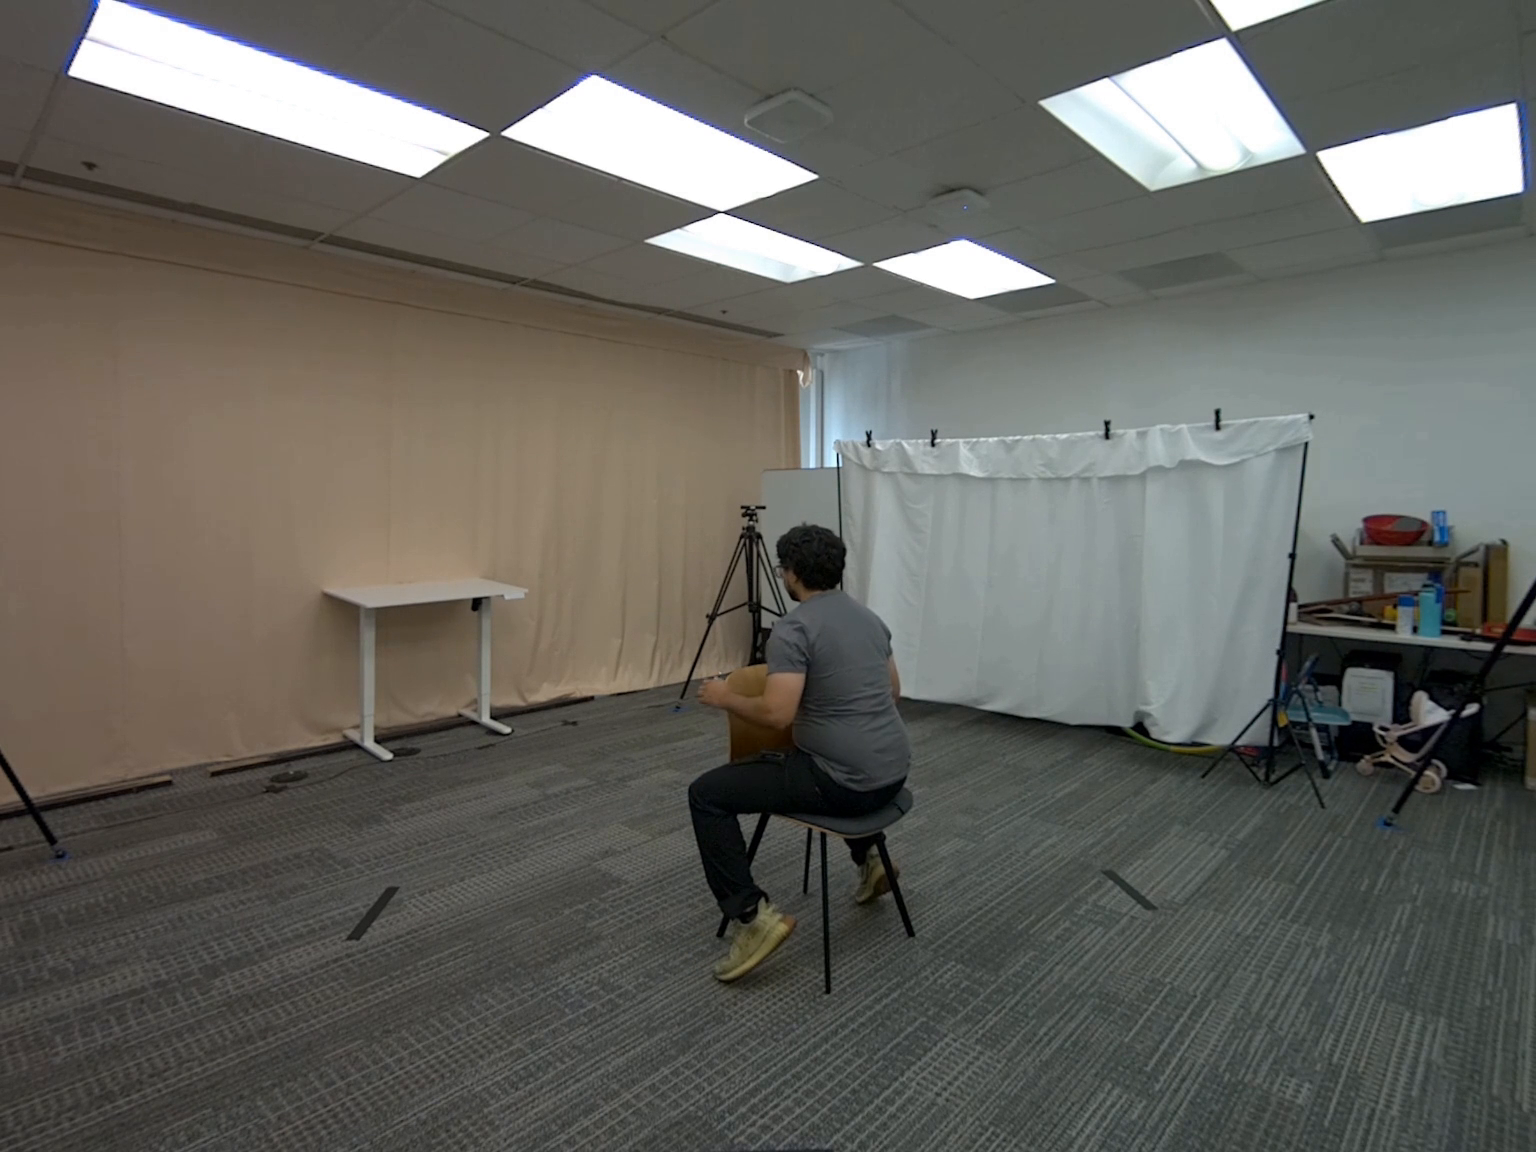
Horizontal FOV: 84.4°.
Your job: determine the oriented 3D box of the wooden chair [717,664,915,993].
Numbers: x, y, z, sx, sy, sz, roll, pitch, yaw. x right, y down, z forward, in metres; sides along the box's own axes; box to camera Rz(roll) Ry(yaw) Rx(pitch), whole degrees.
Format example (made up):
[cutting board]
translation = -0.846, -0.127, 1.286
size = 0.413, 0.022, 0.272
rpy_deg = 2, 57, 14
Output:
[wooden chair]
translation = 0.166, 0.742, 2.688
size = 0.540, 0.877, 0.463
rpy_deg = -2, 1, 43
